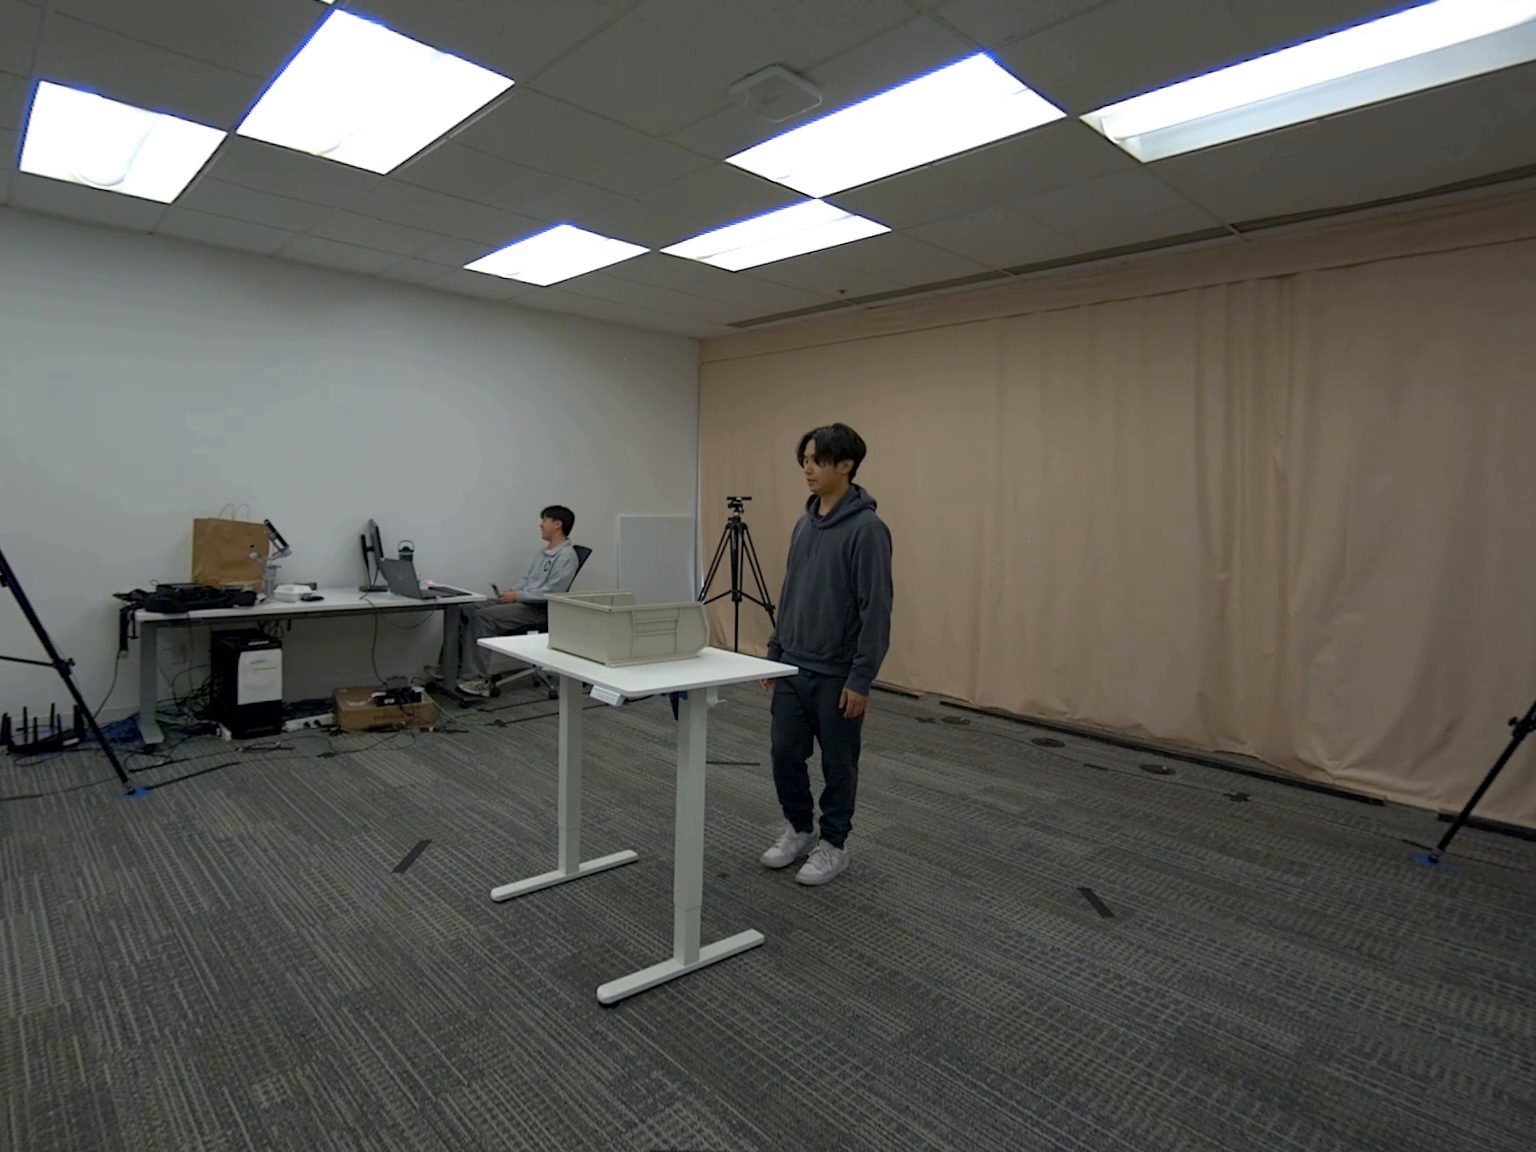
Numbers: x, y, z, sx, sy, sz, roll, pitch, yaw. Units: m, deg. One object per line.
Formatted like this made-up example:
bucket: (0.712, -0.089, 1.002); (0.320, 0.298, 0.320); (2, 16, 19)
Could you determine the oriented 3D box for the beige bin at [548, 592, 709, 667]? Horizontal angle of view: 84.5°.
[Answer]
beige bin: (-0.469, 0.163, 2.723); (0.369, 0.188, 0.433); (-3, 6, -40)
